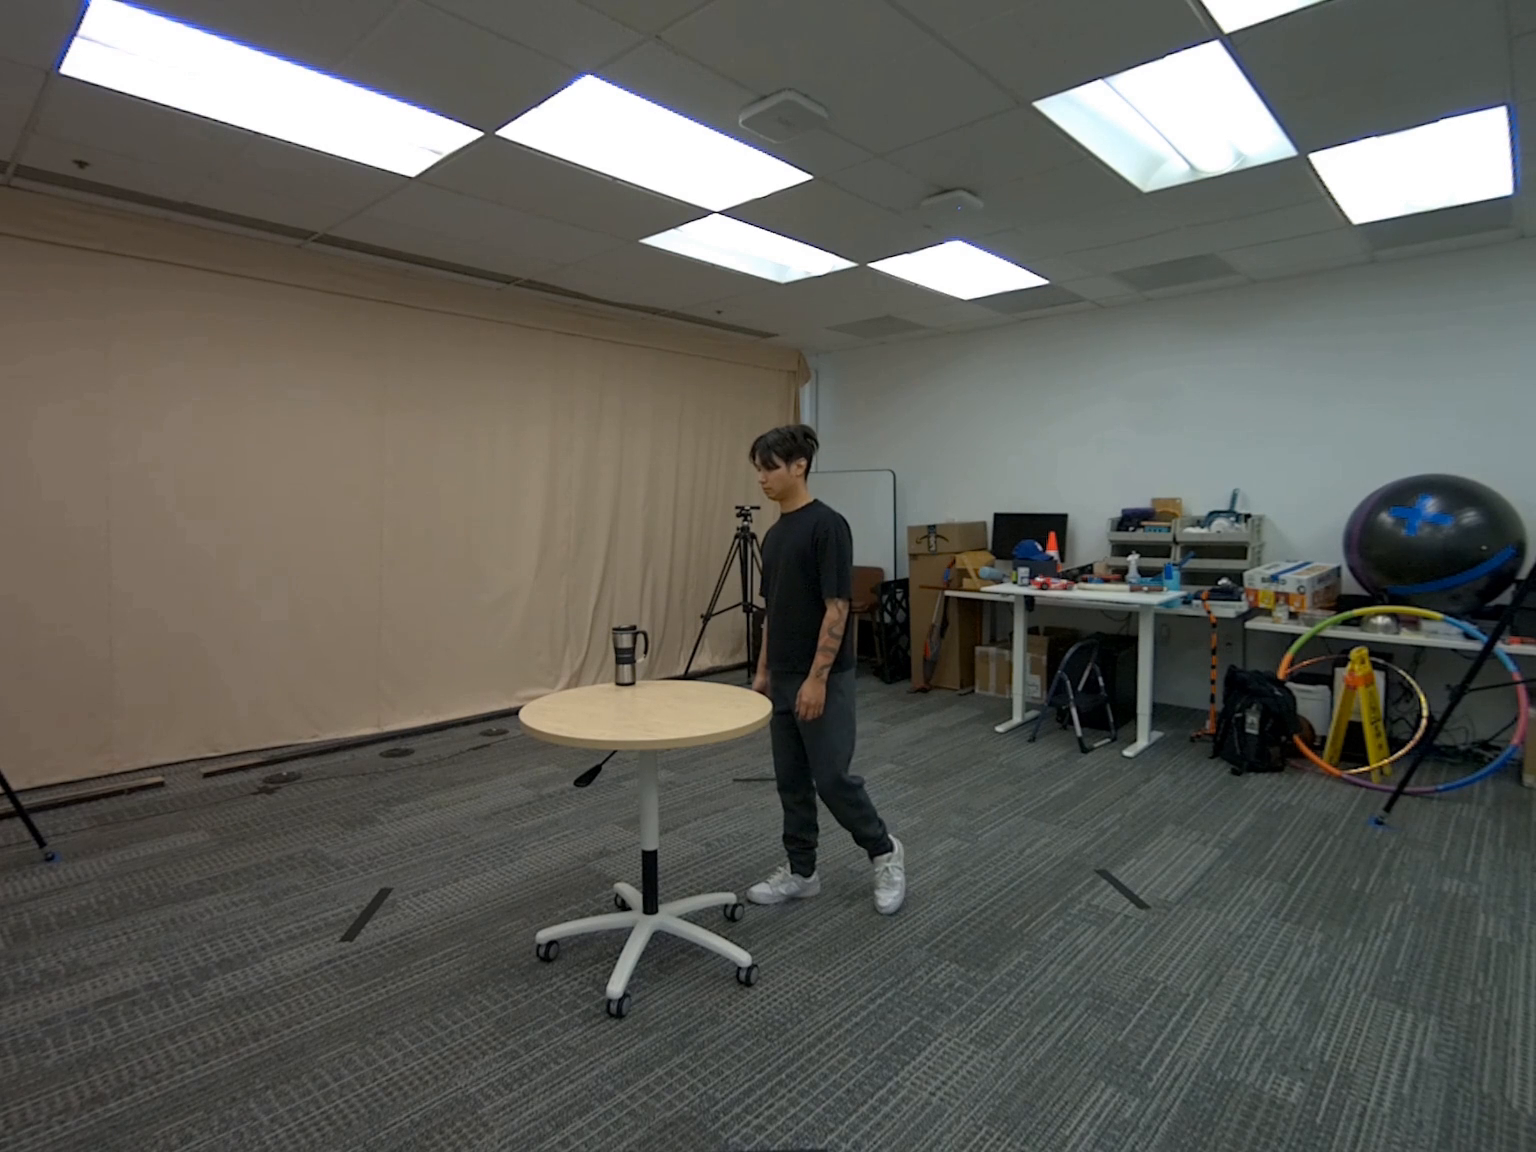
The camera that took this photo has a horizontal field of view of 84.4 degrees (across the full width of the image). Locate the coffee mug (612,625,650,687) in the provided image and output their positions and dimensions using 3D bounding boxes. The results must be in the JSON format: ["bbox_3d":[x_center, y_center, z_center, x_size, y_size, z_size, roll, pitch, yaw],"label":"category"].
[{"bbox_3d":[-0.475,0.276,2.883,0.126,0.203,0.085,-2,-2,39],"label":"coffee mug"}]
